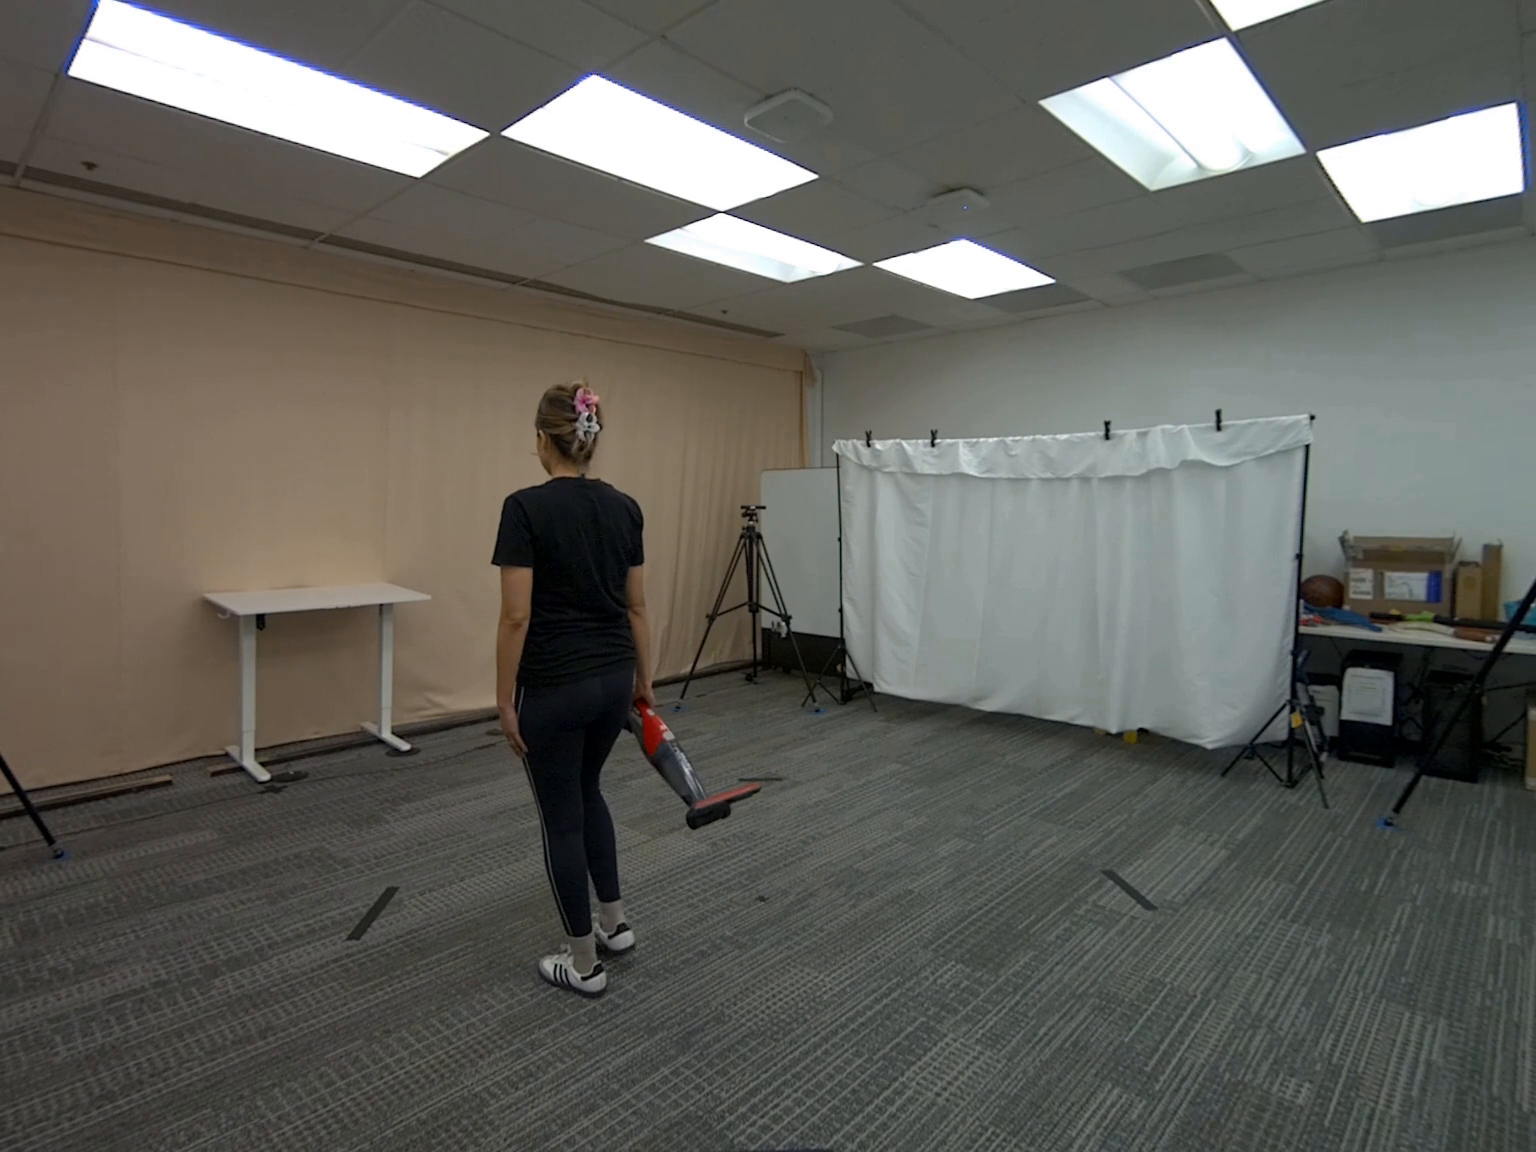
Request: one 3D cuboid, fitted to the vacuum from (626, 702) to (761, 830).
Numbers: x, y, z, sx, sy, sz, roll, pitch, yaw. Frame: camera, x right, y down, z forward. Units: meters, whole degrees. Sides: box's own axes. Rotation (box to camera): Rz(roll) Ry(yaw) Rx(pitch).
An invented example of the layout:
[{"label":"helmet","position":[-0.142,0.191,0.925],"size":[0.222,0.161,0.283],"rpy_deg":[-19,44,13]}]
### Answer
[{"label":"vacuum","position":[-0.468,0.395,2.729],"size":[0.245,0.143,1.087],"rpy_deg":[-9,36,-41]}]
